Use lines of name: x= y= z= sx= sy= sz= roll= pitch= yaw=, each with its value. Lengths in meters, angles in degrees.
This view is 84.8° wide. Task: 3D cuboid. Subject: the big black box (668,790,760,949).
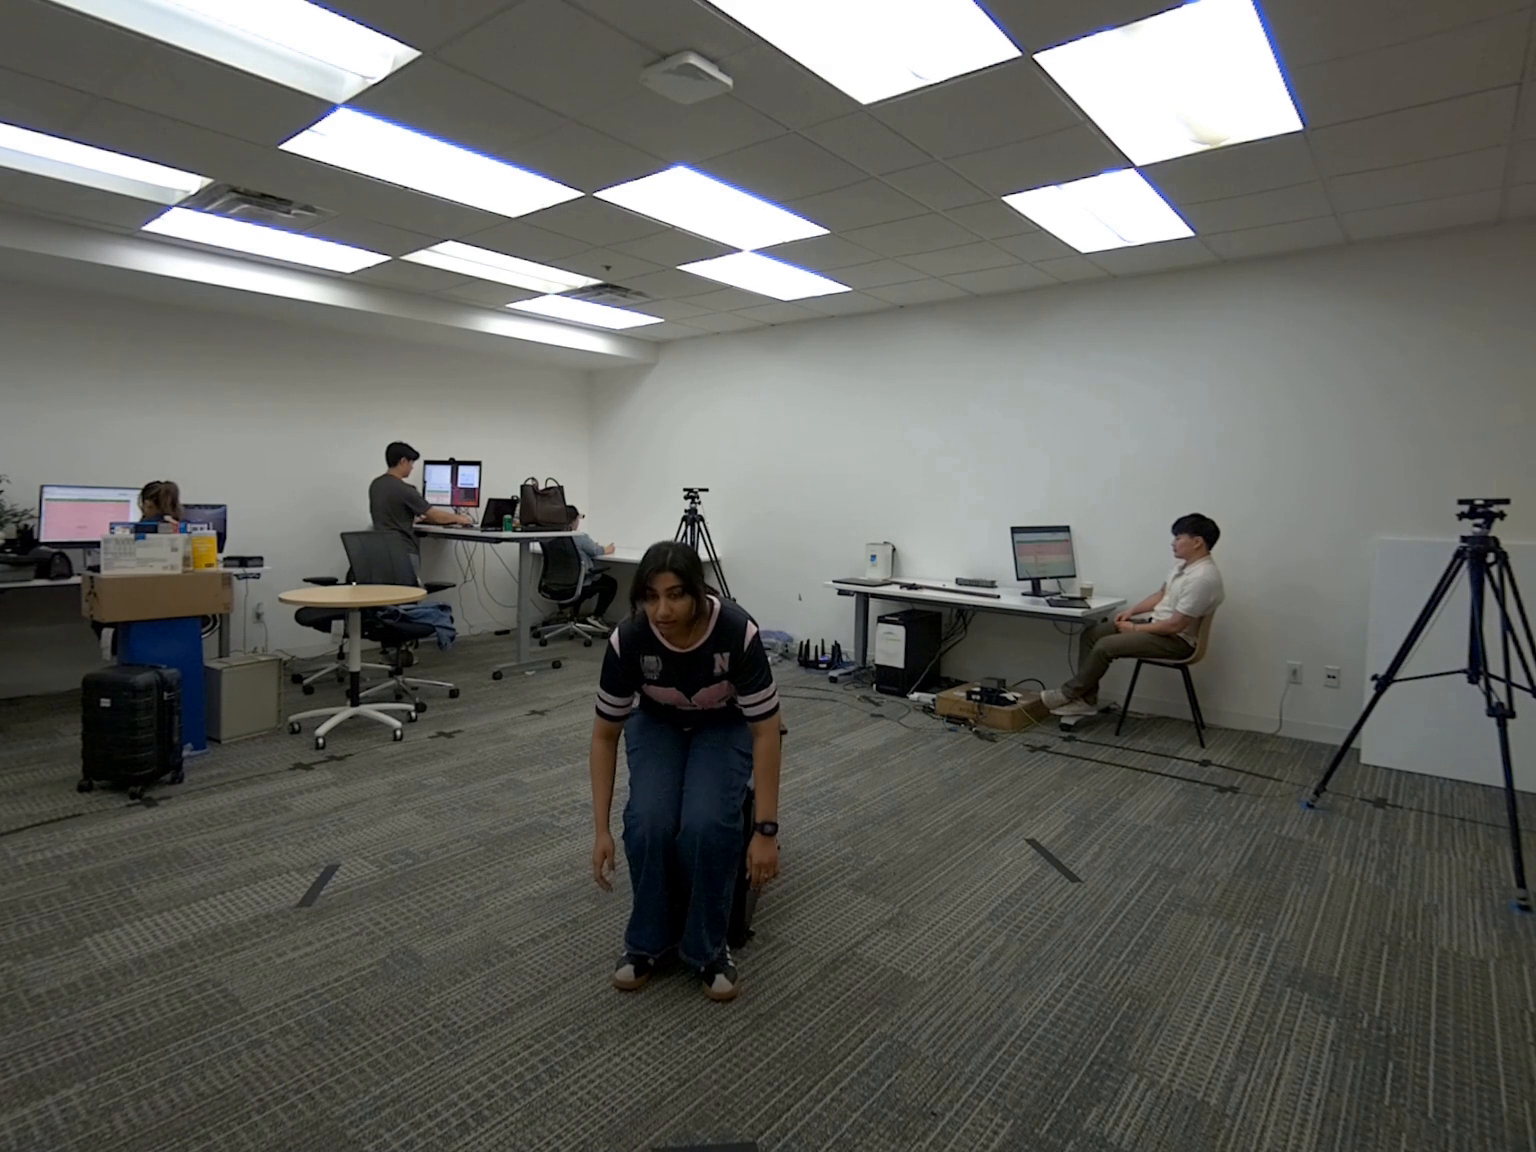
big black box: x=-0.182 y=0.817 z=3.006 sx=0.389 sy=0.522 sz=0.862 roll=1 pitch=5 yaw=8
